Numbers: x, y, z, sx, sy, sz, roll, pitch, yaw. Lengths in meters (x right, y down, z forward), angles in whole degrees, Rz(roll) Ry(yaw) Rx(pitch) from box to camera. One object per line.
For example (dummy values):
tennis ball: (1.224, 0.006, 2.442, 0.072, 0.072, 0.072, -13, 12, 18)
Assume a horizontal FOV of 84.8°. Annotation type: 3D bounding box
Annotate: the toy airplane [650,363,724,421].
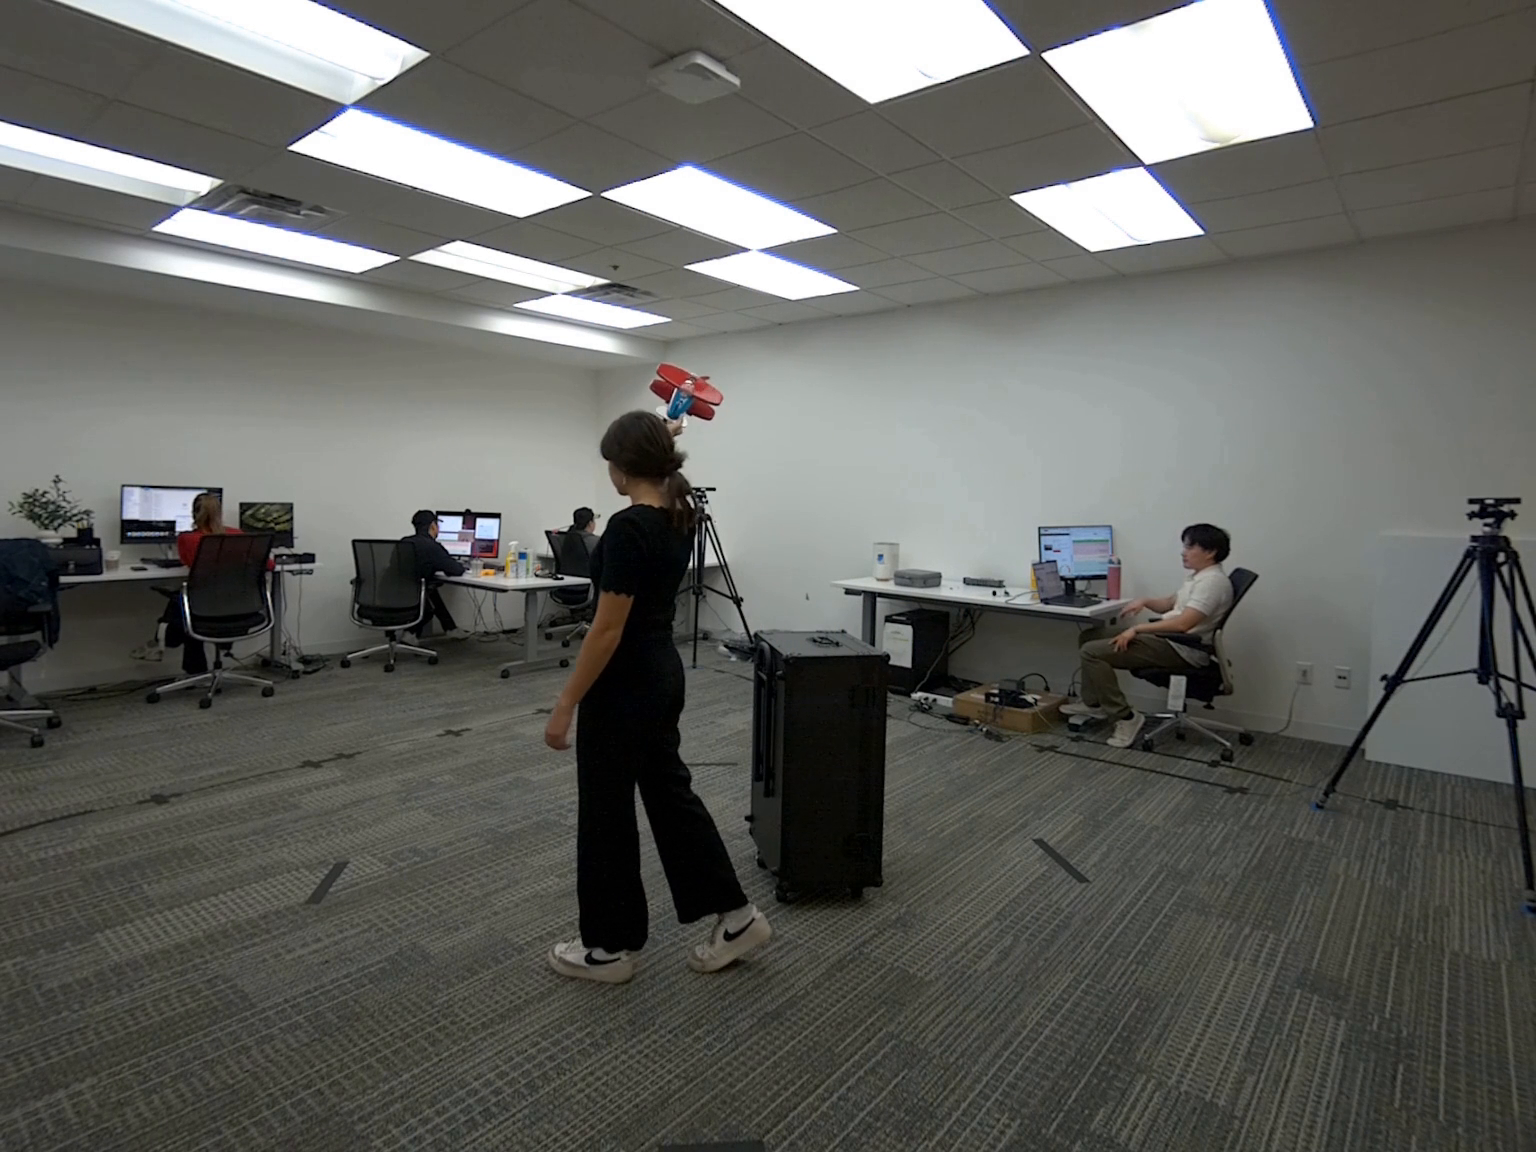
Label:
toy airplane: (-0.300, -0.617, 3.022, 0.244, 0.155, 0.269, 9, 38, -28)
